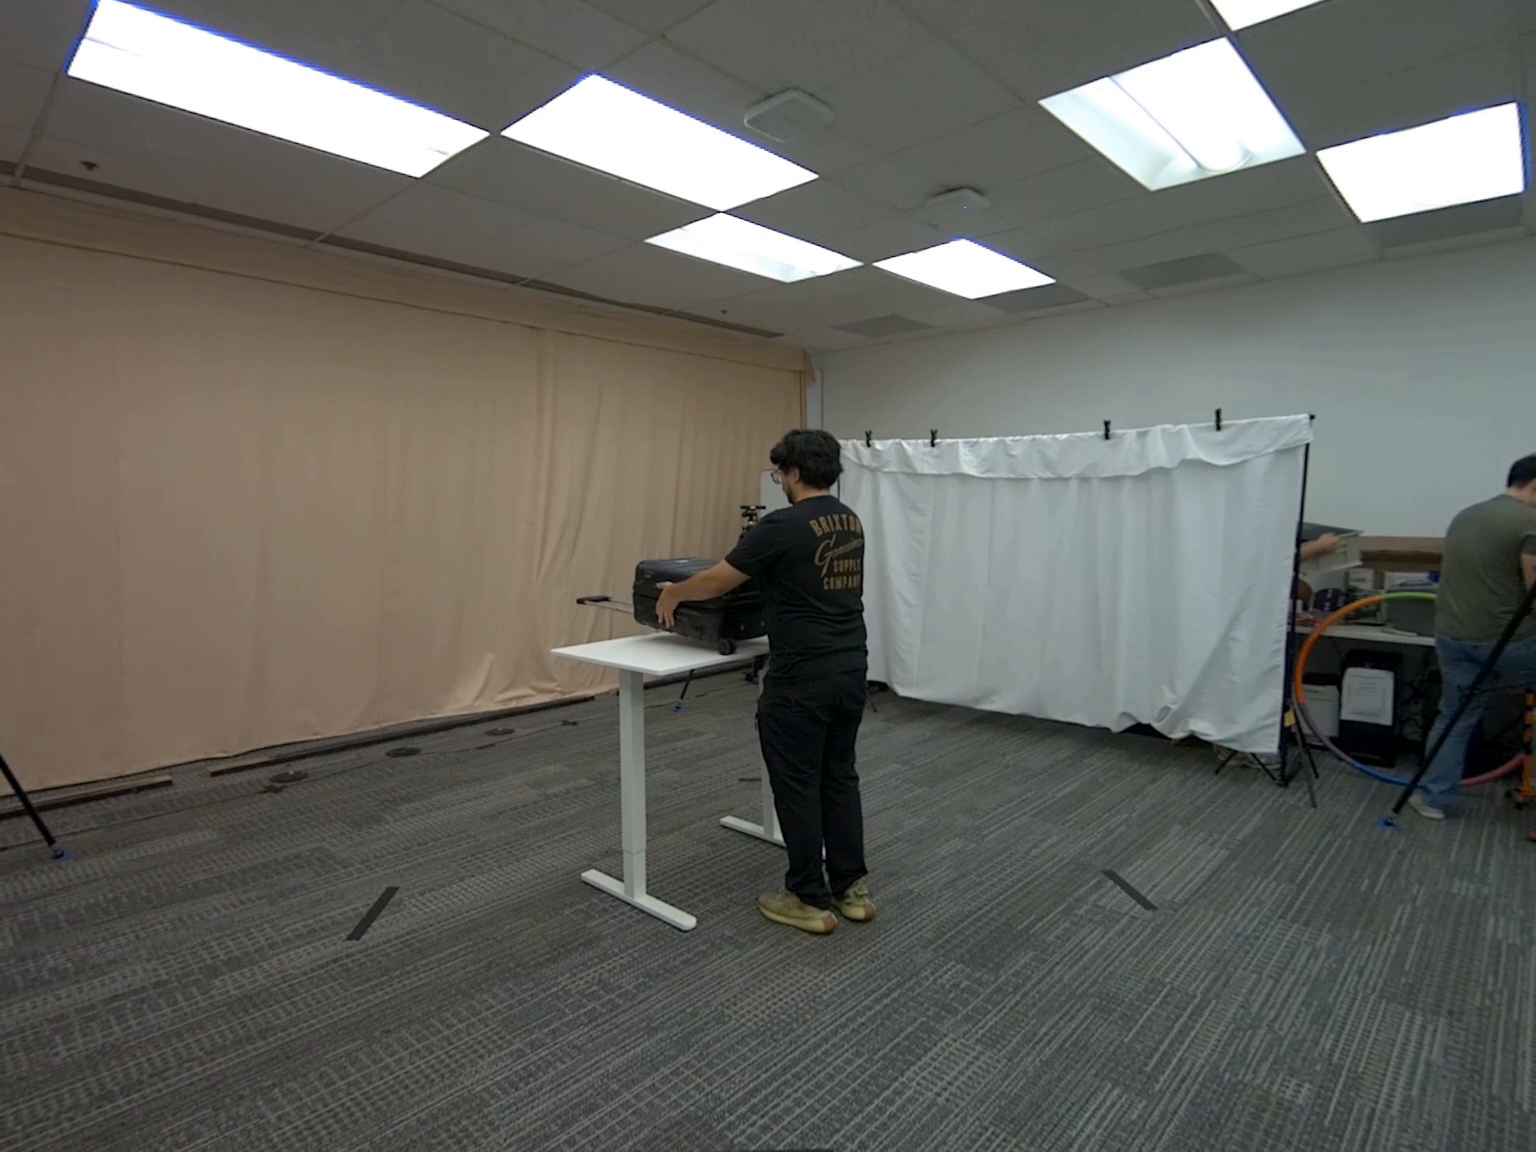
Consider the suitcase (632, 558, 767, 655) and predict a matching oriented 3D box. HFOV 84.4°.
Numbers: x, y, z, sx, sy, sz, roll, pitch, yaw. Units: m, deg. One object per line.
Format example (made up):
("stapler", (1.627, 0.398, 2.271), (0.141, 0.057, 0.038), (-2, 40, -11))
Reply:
("suitcase", (-0.388, 0.056, 3.297), (1.013, 0.256, 0.373), (11, 13, 42))
